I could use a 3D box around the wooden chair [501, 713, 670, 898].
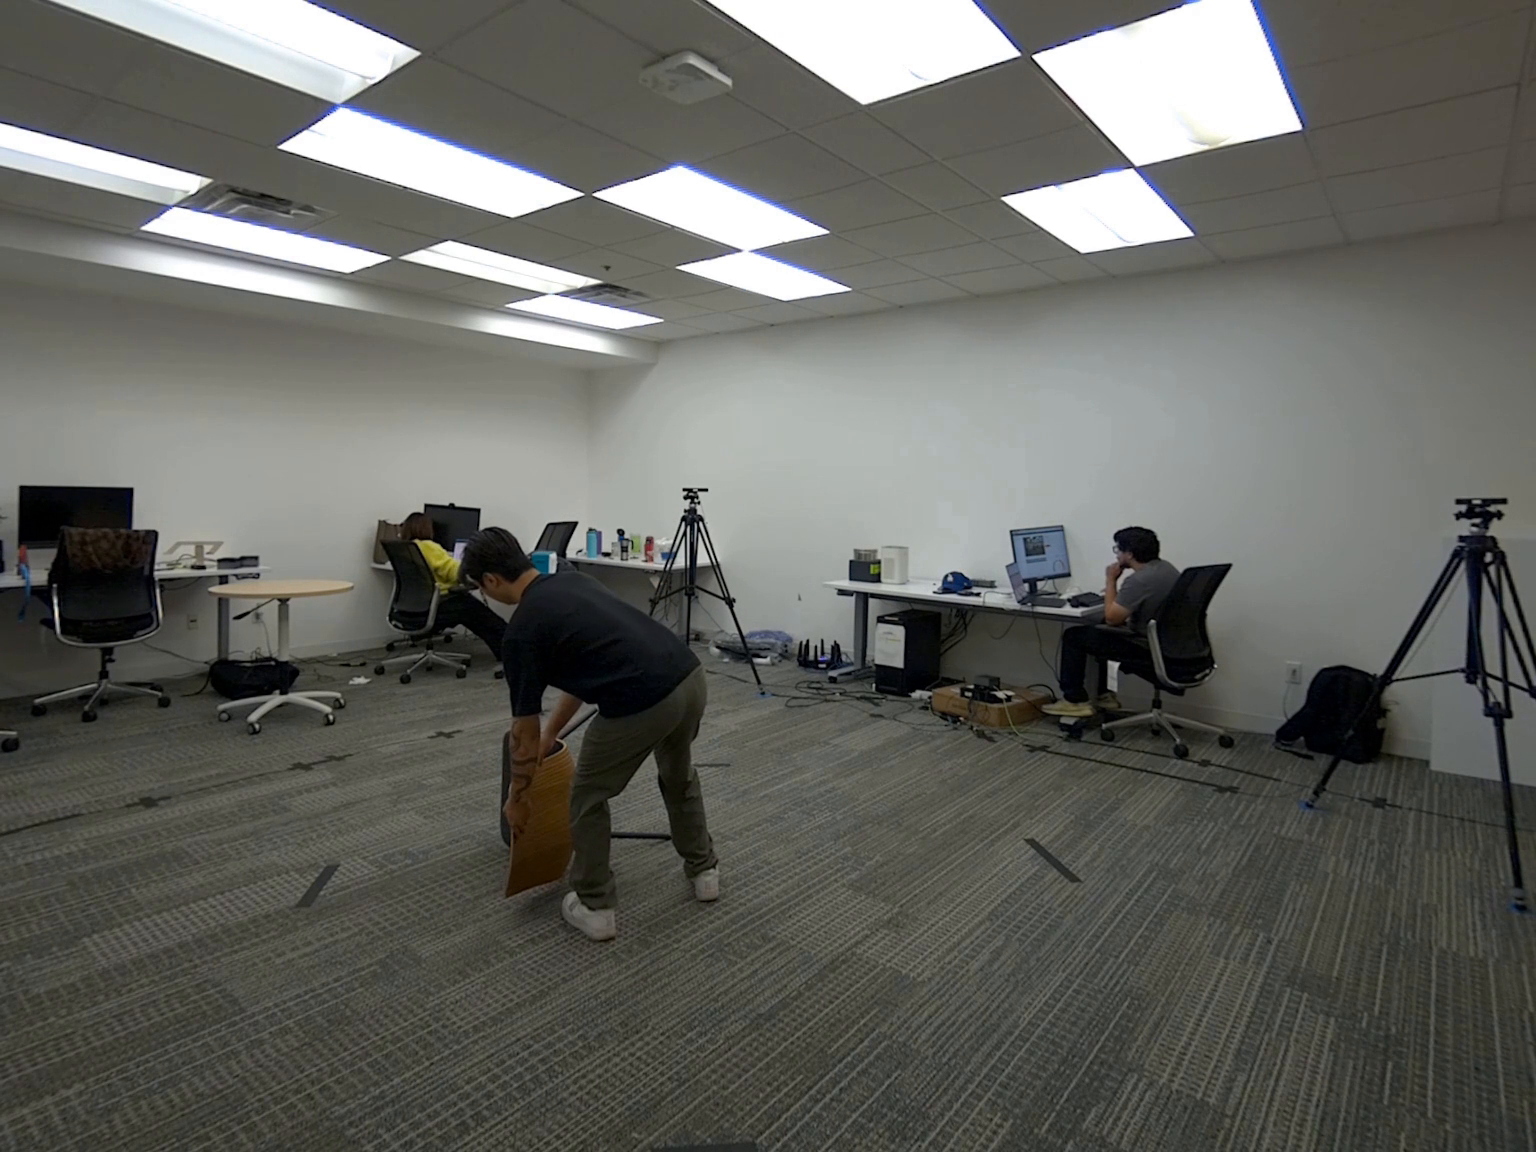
[{"bbox_3d":[-0.817,0.820,3.166,0.539,0.476,0.854,4,5,31],"label":"wooden chair"}]
